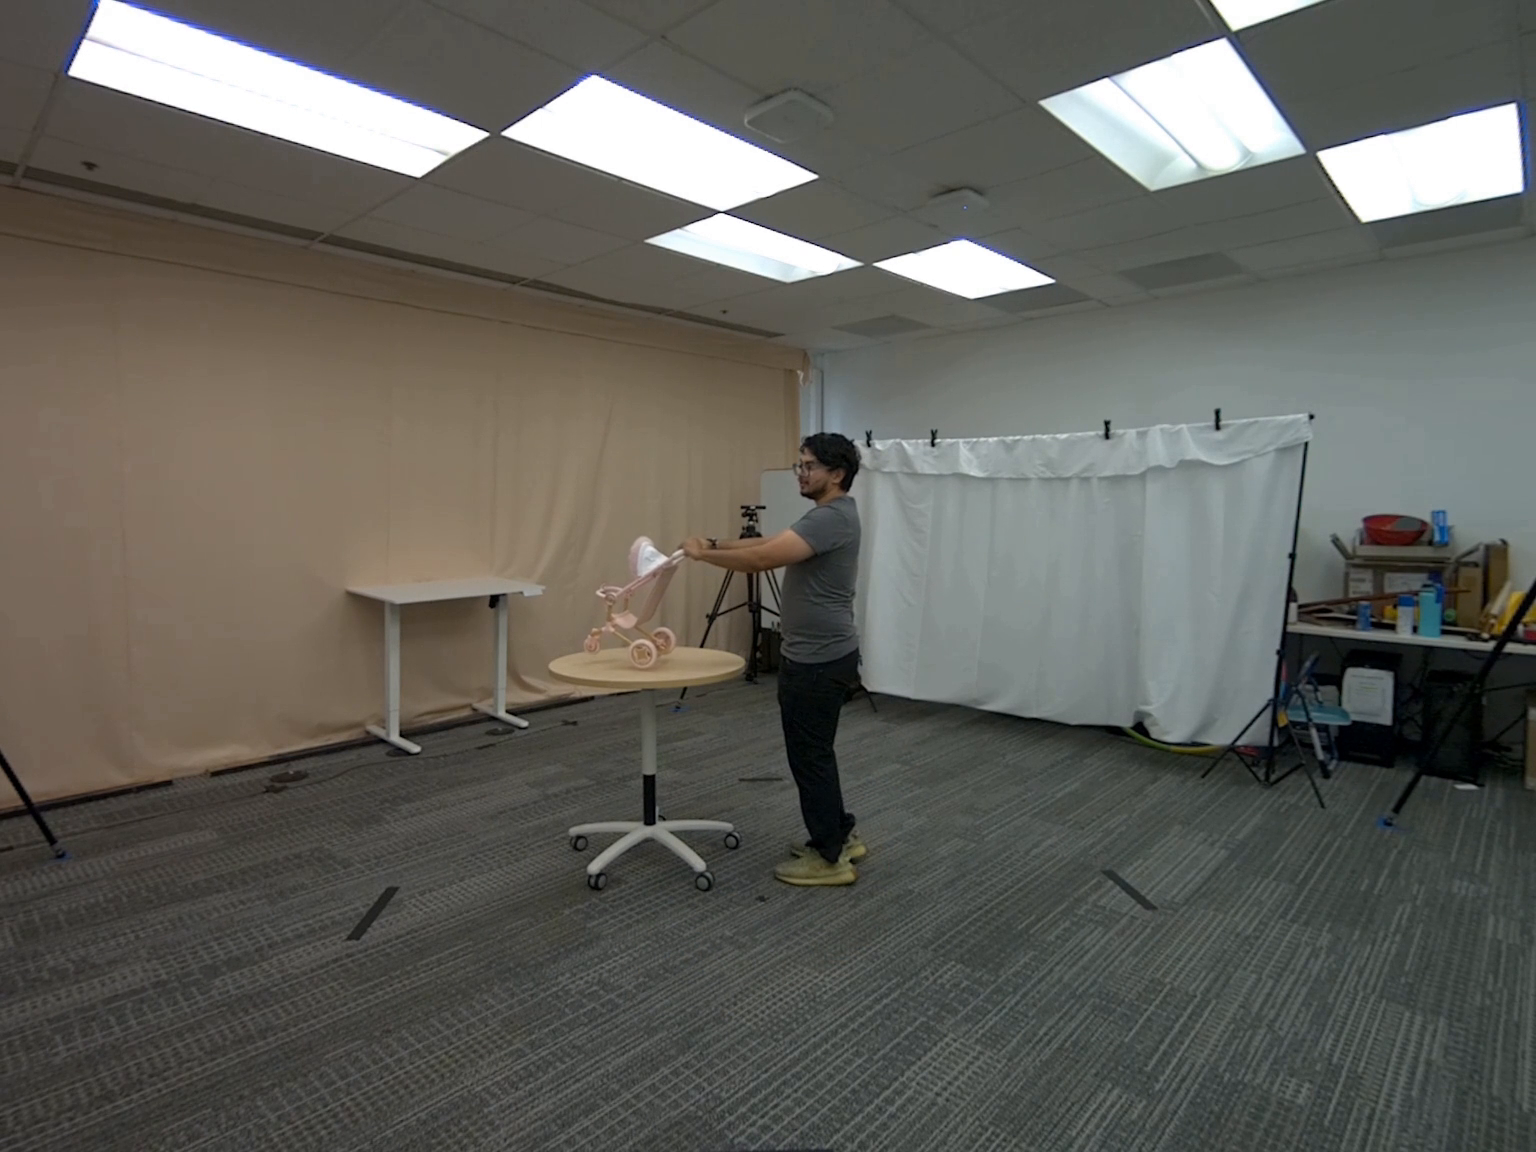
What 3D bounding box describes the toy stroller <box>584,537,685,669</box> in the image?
[{"bbox_3d":[-0.501,0.098,3.233,0.348,0.533,0.277,18,10,15],"label":"toy stroller"}]
